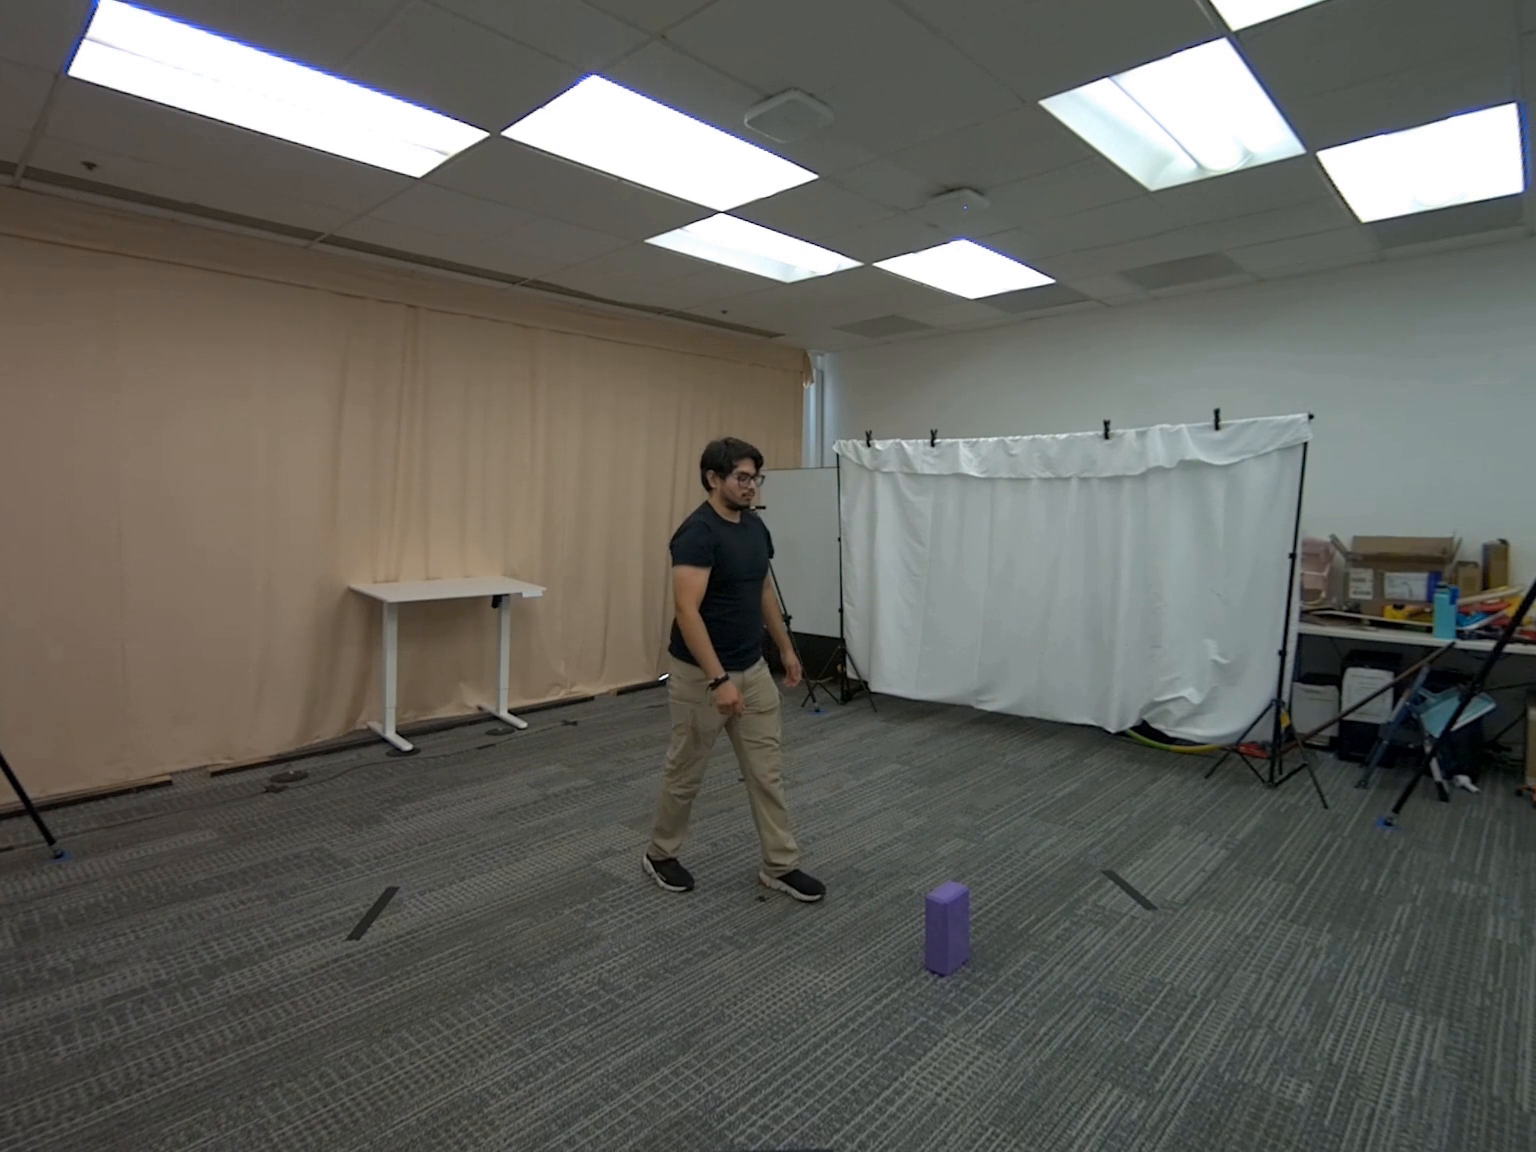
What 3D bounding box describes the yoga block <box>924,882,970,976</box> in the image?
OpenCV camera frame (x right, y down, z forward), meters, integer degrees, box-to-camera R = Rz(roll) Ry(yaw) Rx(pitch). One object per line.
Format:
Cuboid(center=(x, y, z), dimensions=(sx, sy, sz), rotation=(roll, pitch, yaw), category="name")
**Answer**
Cuboid(center=(0.551, 1.064, 2.544), dimensions=(0.079, 0.229, 0.144), rotation=(2, 4, 42), category="yoga block")
